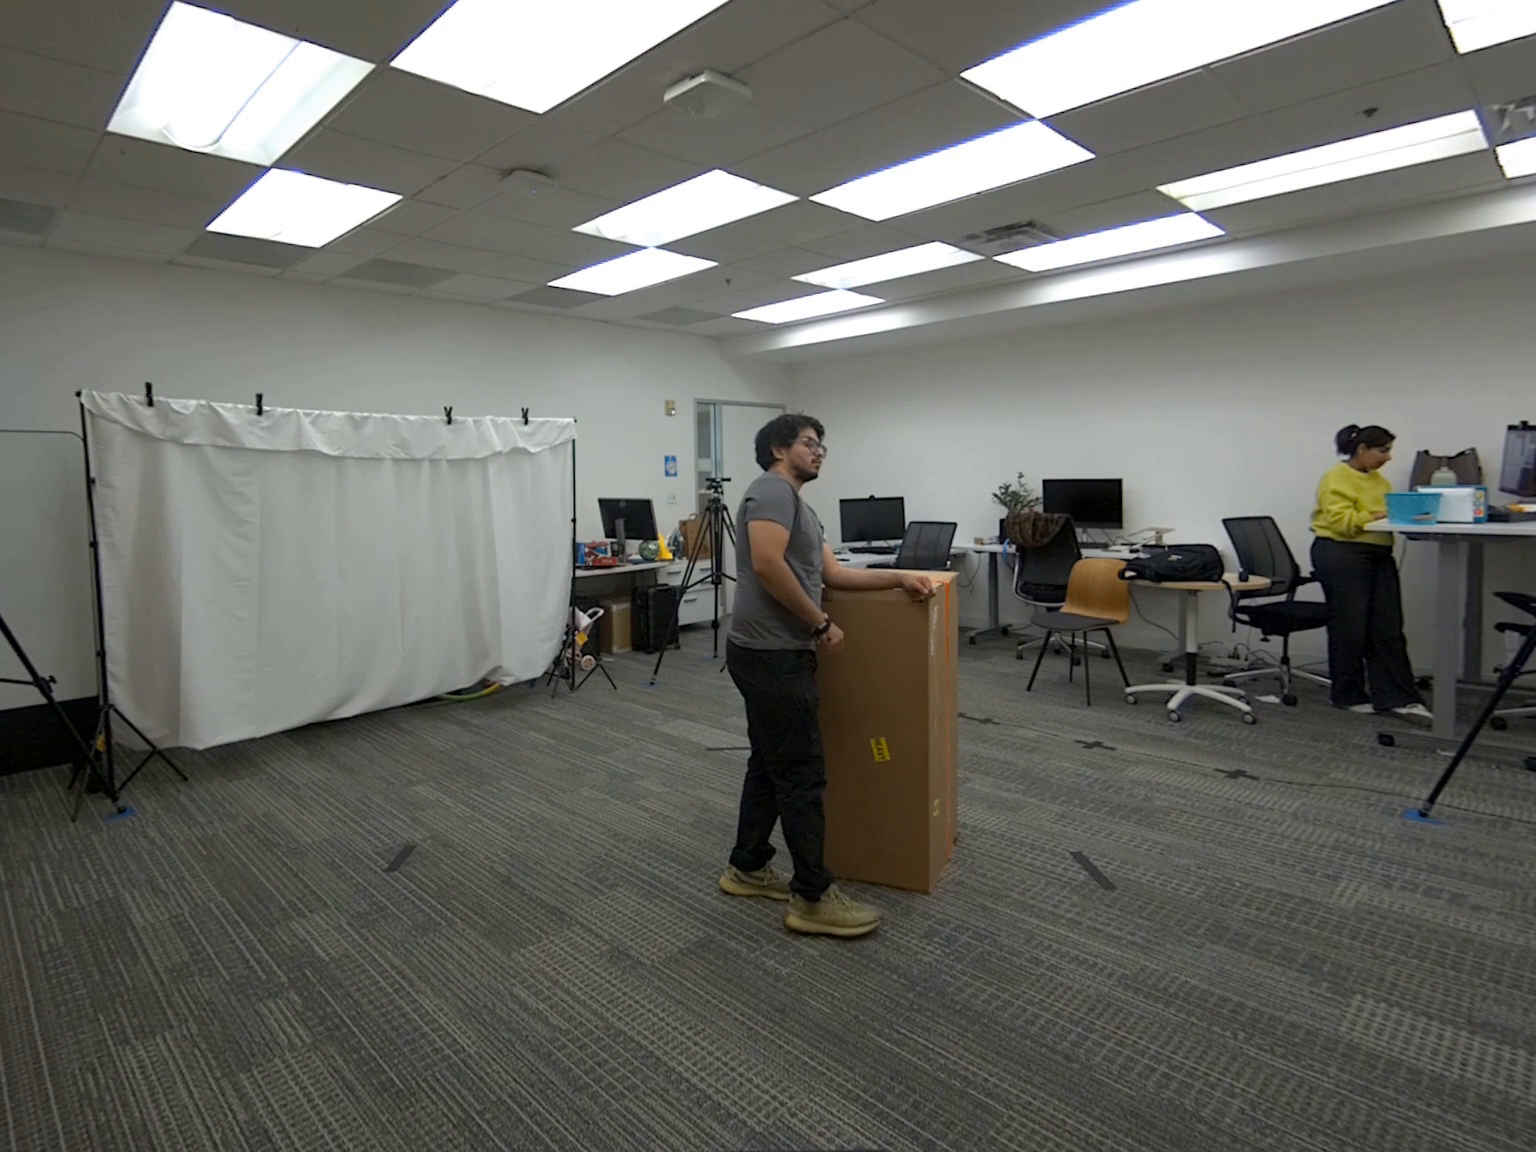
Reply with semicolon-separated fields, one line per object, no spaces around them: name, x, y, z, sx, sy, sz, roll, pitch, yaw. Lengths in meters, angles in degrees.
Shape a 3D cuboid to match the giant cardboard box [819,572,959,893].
giant cardboard box;0.452;0.519;3.163;0.436;1.022;0.567;1;5;24
